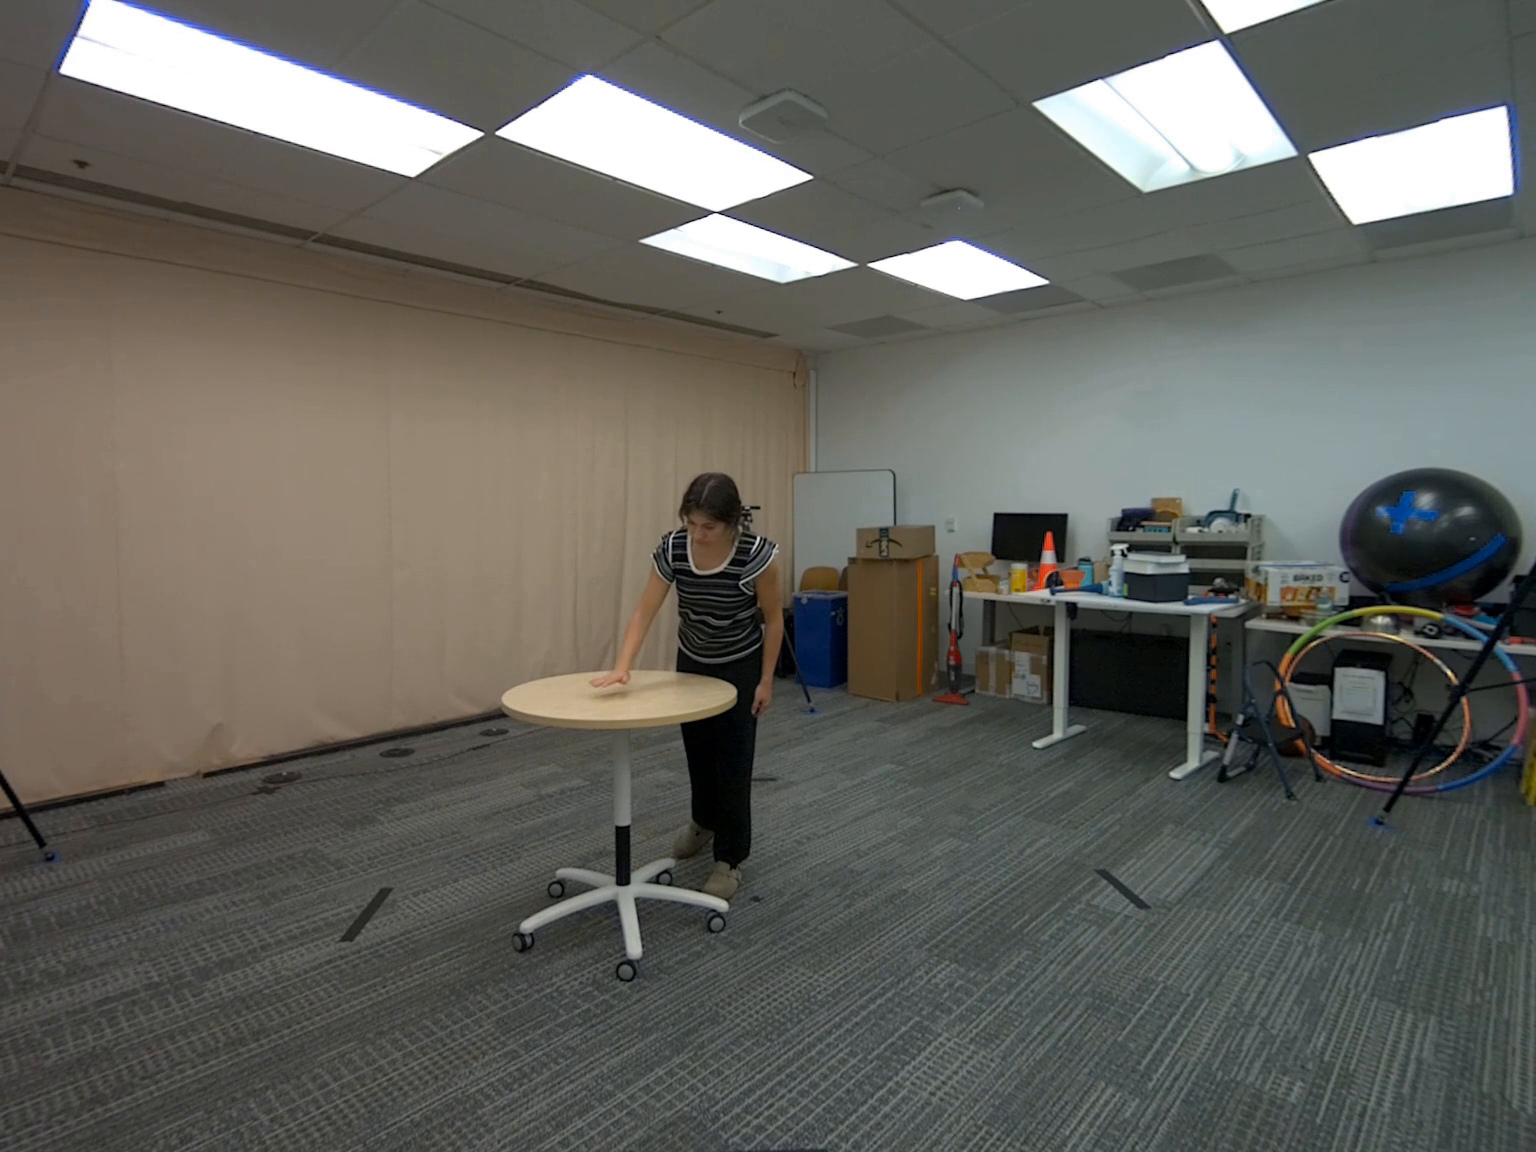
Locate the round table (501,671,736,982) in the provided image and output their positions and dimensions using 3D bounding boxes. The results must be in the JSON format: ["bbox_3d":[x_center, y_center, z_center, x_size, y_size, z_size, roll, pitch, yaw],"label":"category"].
[{"bbox_3d":[-0.486,0.778,2.781,0.763,0.792,0.766,-1,3,-2],"label":"round table"}]
